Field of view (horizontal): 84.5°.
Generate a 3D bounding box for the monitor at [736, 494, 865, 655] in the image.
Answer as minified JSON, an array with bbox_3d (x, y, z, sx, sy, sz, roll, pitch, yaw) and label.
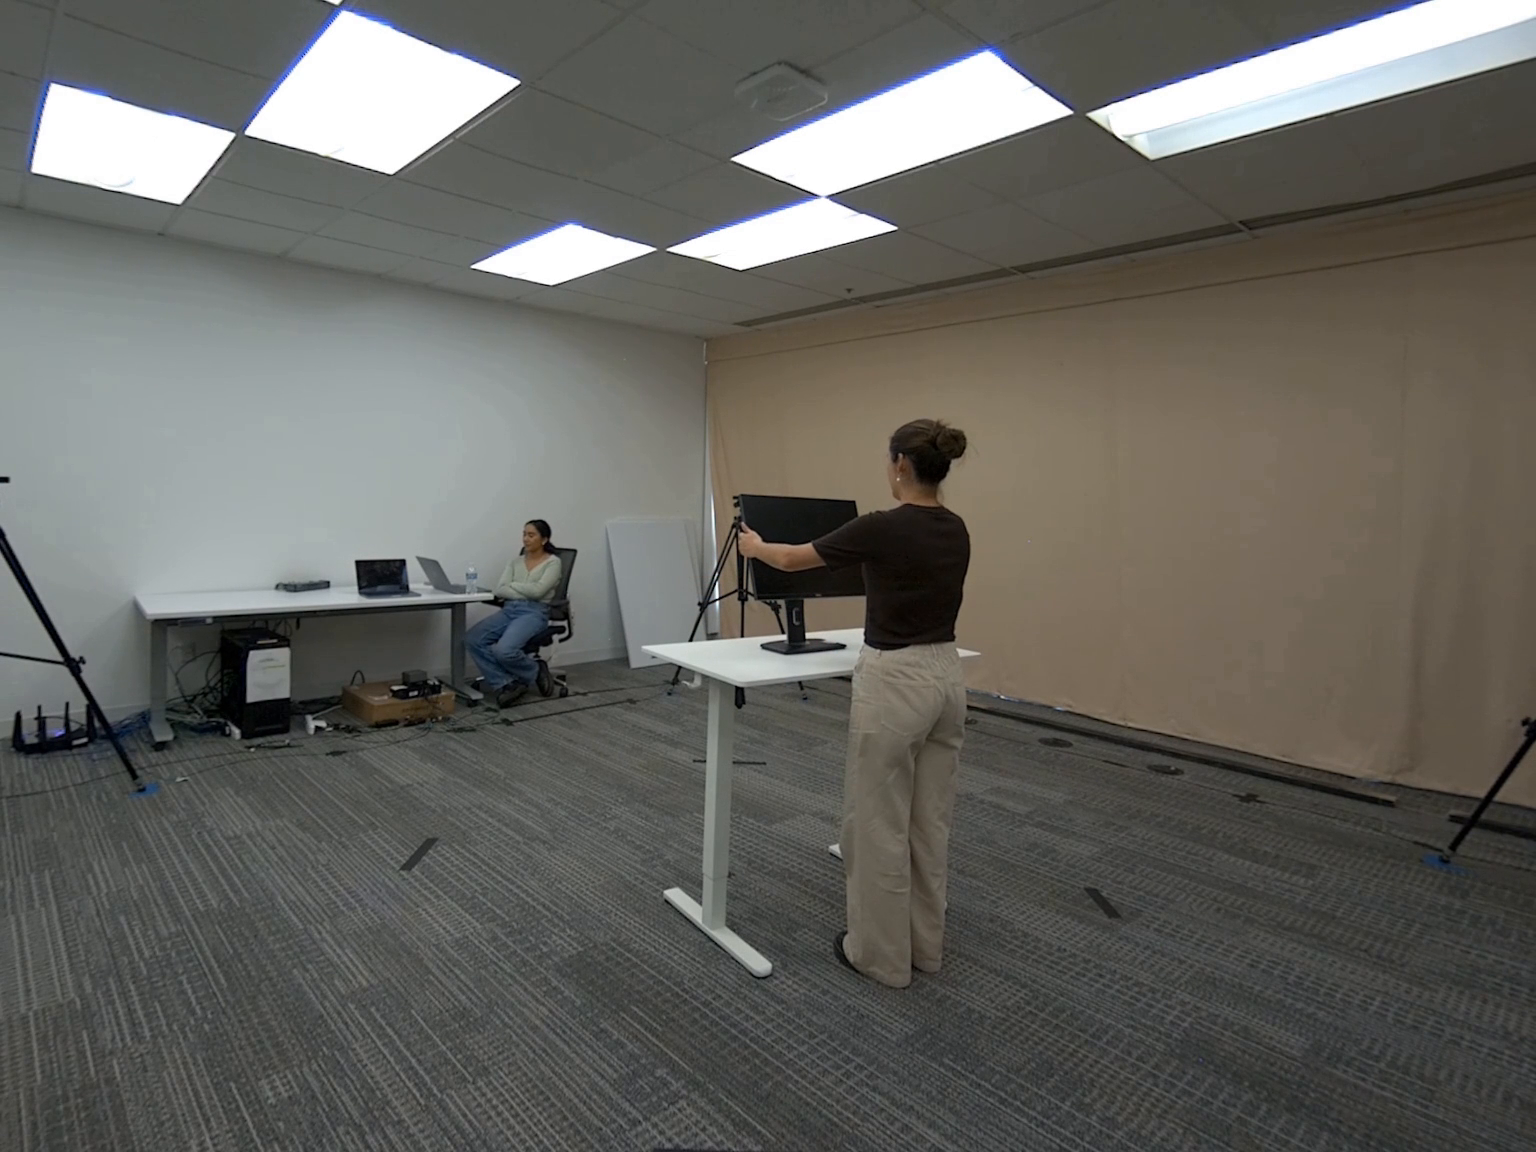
[{"bbox_3d":[0.112,-0.006,2.872,0.526,0.523,0.191,0,0,-42],"label":"monitor"}]
